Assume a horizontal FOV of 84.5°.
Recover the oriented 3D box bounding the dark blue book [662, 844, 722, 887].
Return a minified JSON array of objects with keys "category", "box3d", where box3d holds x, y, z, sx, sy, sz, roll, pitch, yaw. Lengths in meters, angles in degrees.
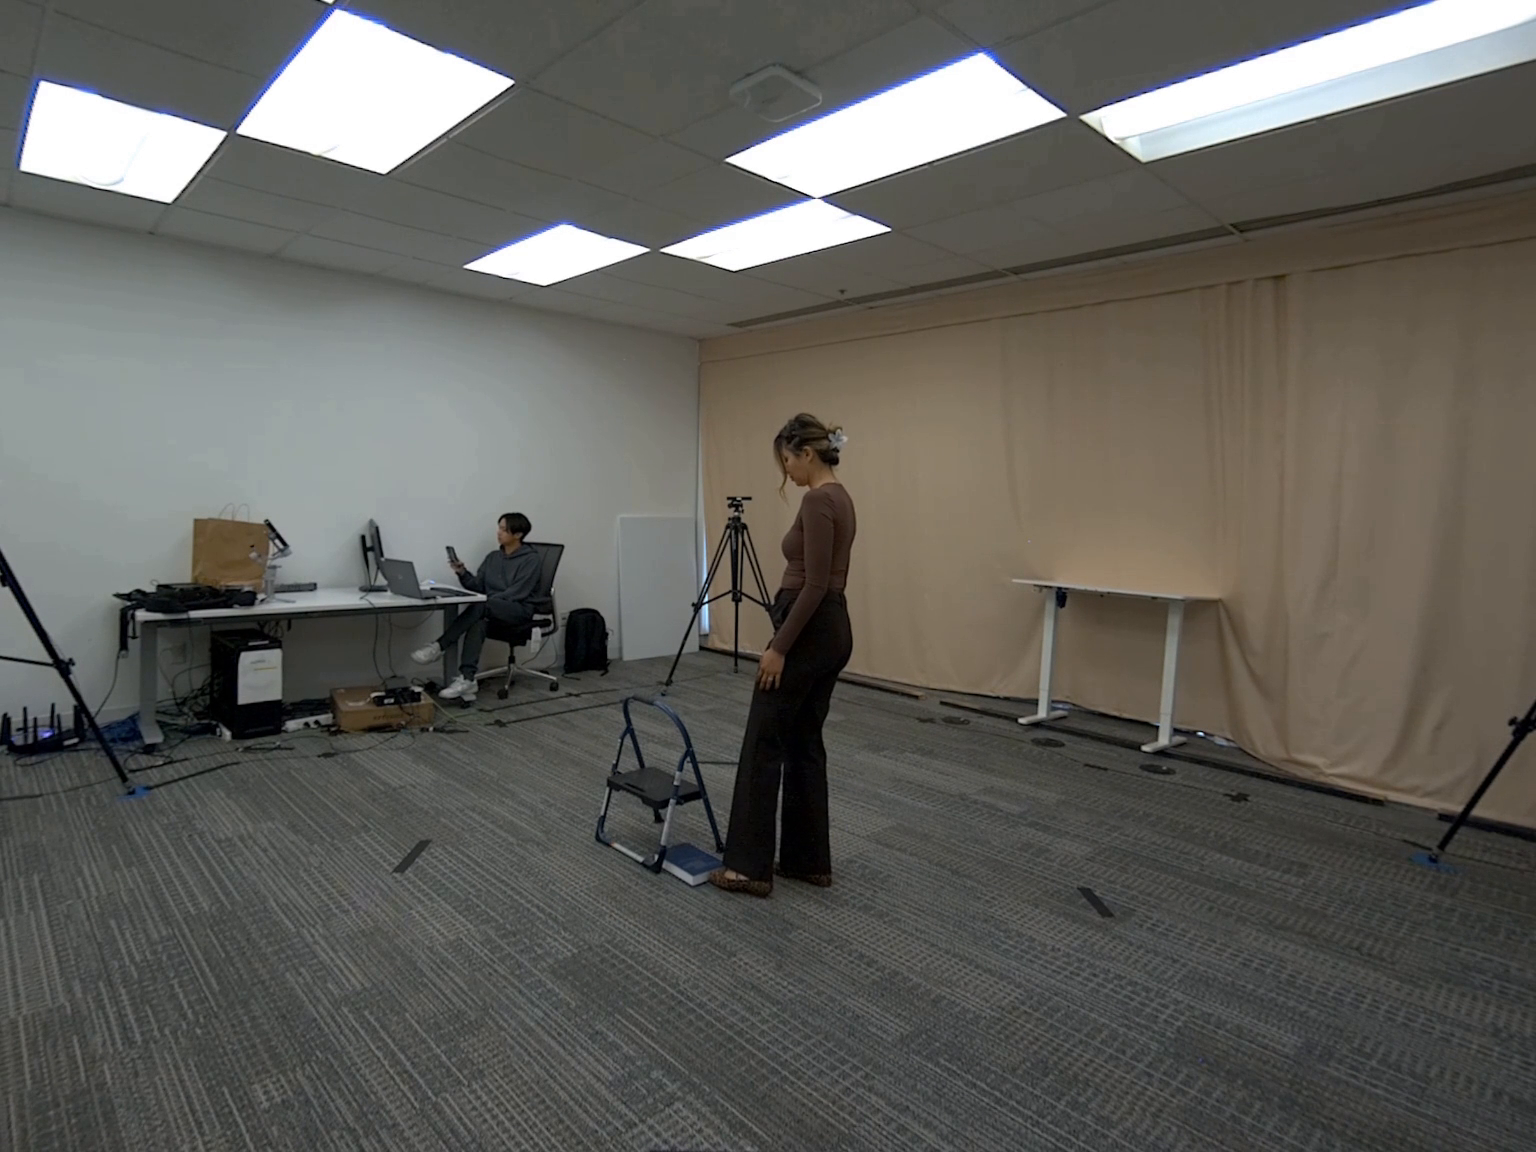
[{"category":"dark blue book","box3d":[-0.294,1.071,3.150,0.160,0.045,0.251,-4,7,-41]}]
